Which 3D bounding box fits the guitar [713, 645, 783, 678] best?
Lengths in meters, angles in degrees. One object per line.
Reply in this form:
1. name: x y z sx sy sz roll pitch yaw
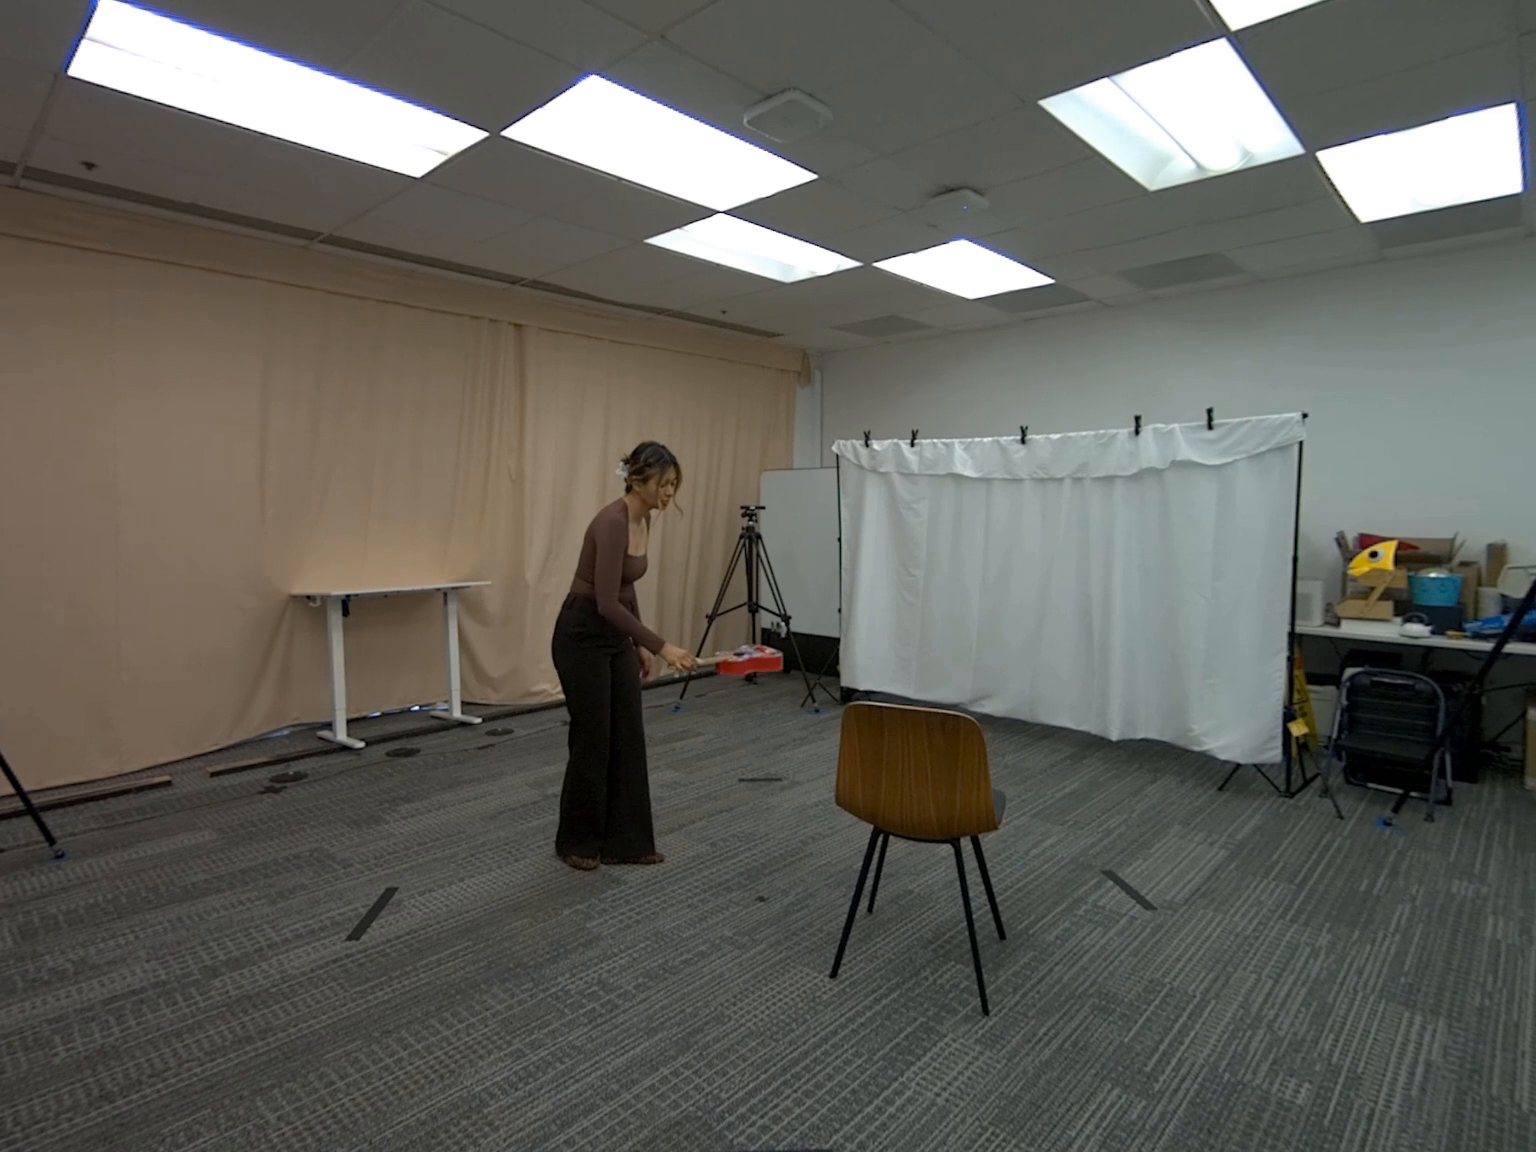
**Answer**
1. guitar: -0.180 0.328 3.205 0.485 0.070 0.199 -3 10 -27
